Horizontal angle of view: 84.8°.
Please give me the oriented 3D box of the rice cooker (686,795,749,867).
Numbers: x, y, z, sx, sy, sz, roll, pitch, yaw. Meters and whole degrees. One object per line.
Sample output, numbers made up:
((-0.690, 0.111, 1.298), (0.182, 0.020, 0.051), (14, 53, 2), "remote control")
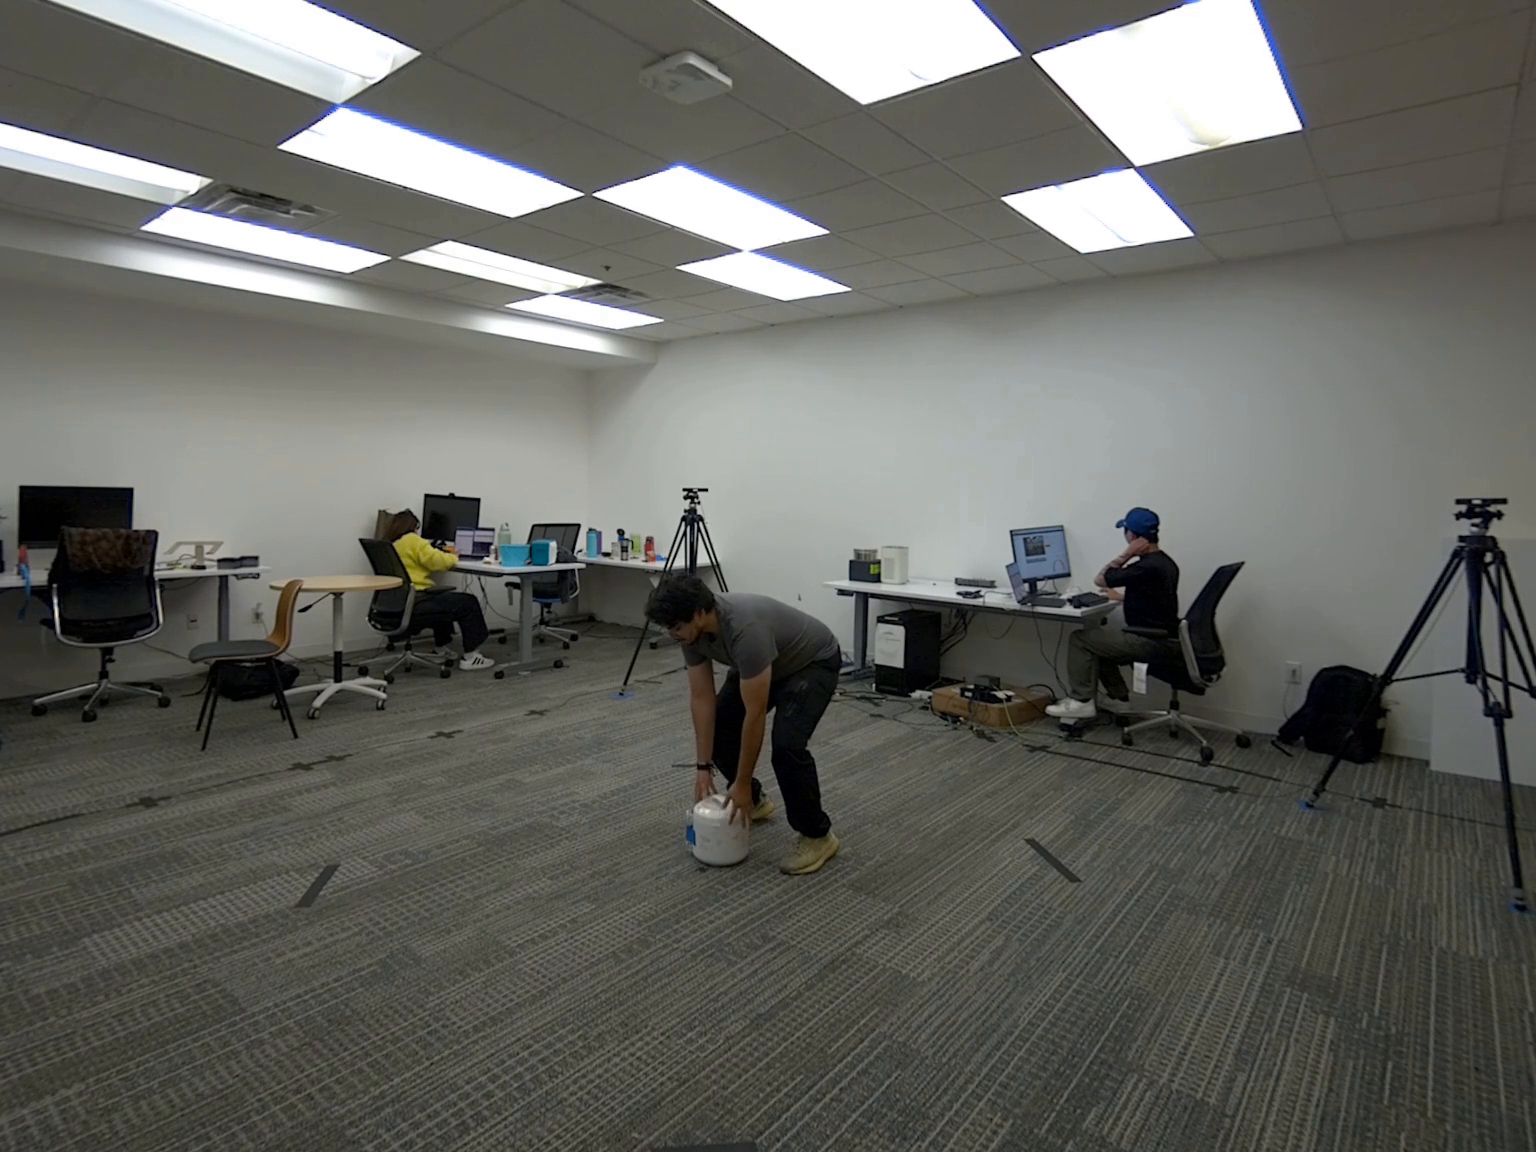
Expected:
((-0.191, 0.948, 3.210), (0.212, 0.231, 0.228), (-4, 7, -32), "rice cooker")
